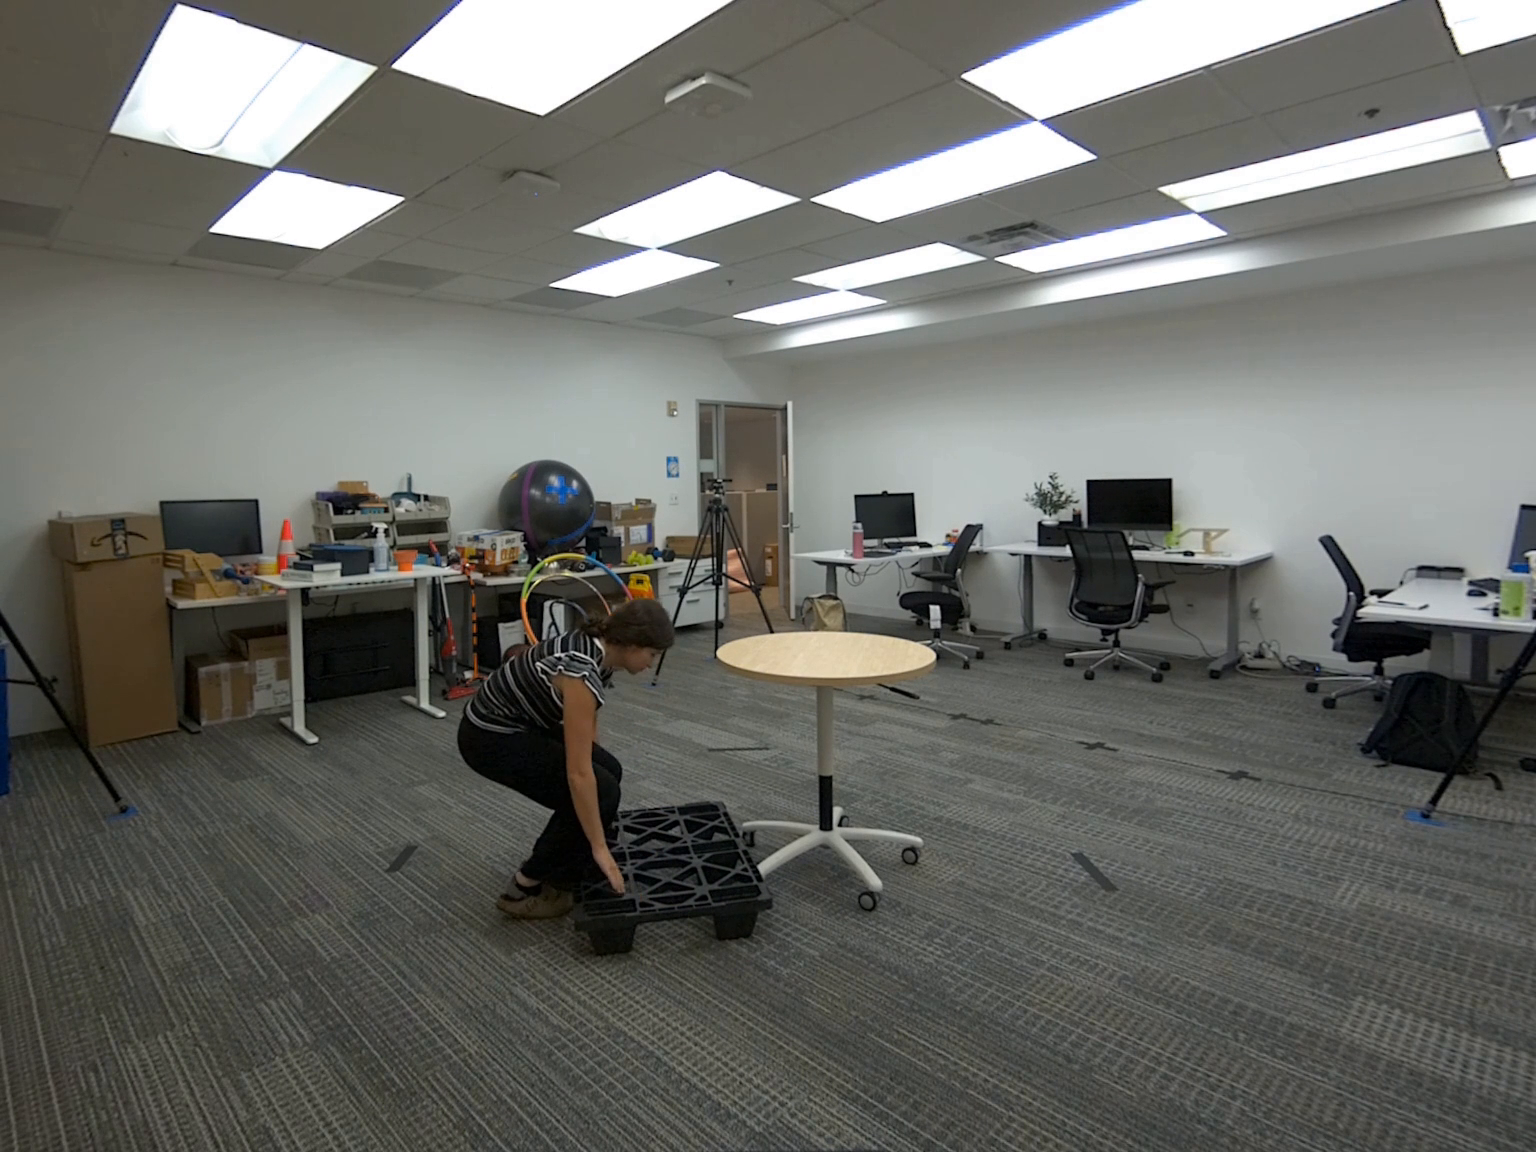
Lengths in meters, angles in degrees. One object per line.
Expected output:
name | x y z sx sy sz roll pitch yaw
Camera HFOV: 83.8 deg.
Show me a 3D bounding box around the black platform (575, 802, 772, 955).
black platform | -0.364 1.002 2.922 0.598 0.142 0.819 -1 7 -13
